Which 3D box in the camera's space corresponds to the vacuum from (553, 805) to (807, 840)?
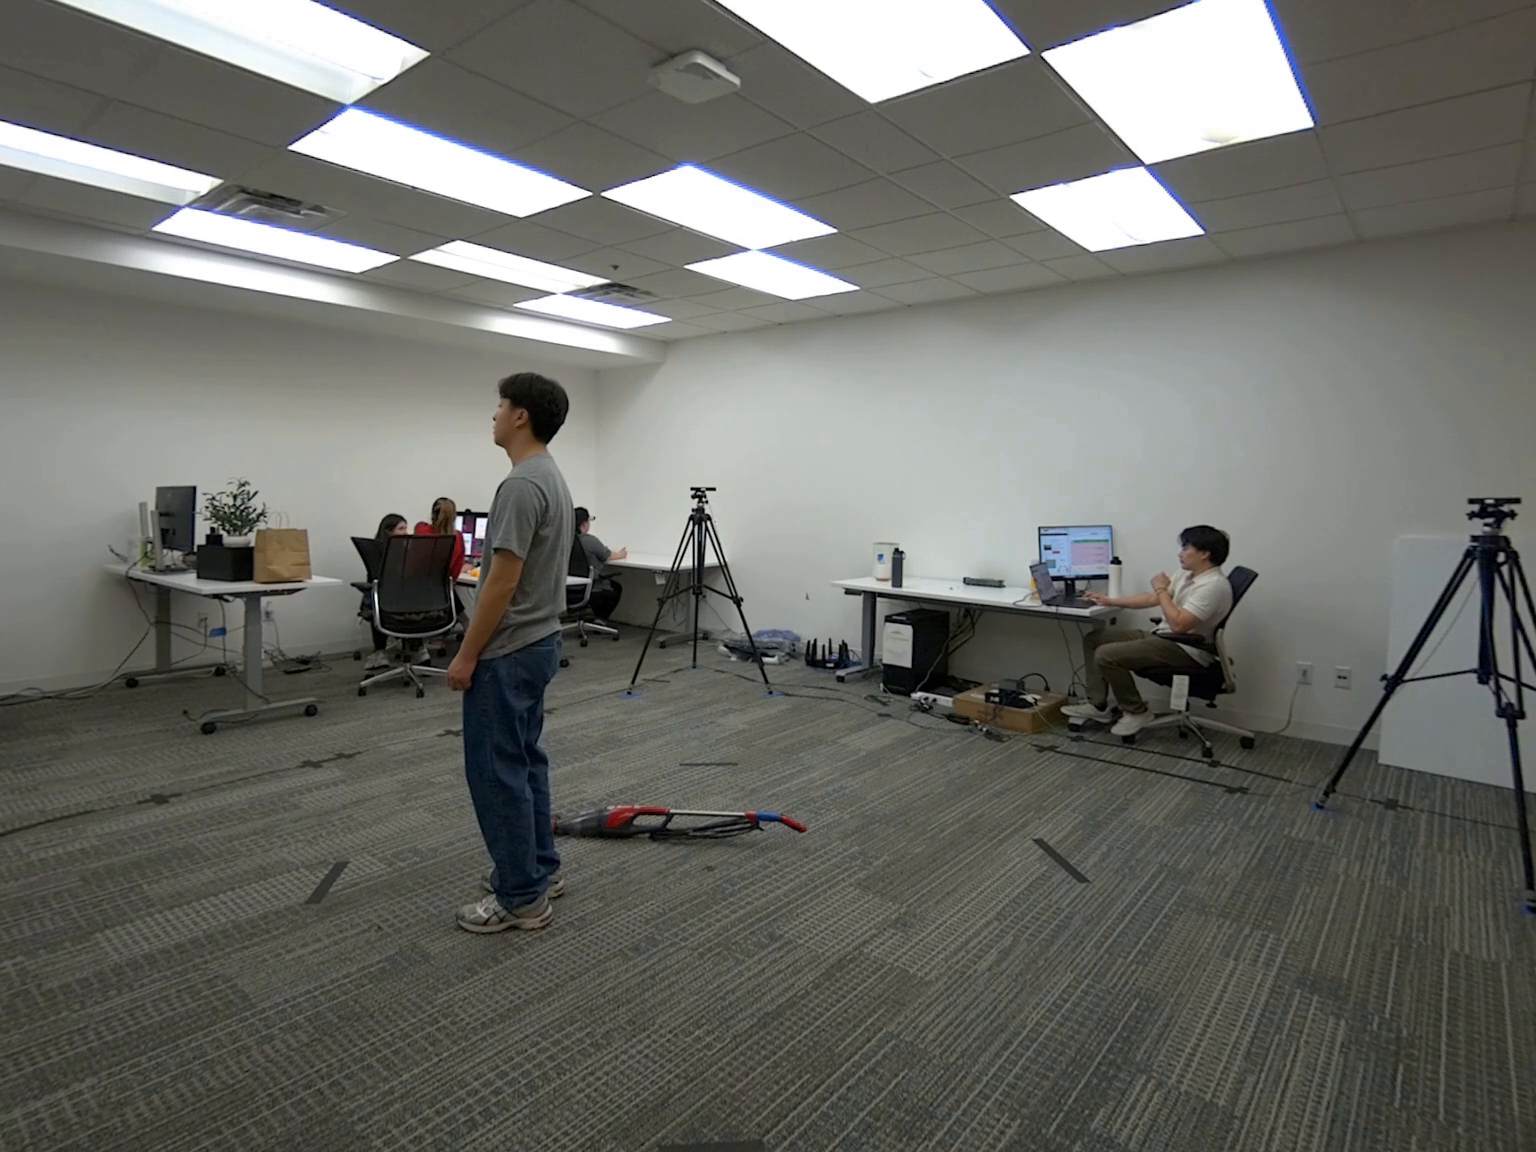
[{"bbox_3d":[-0.379,0.976,3.355,1.055,0.144,0.251,0,-1,5],"label":"vacuum"}]
